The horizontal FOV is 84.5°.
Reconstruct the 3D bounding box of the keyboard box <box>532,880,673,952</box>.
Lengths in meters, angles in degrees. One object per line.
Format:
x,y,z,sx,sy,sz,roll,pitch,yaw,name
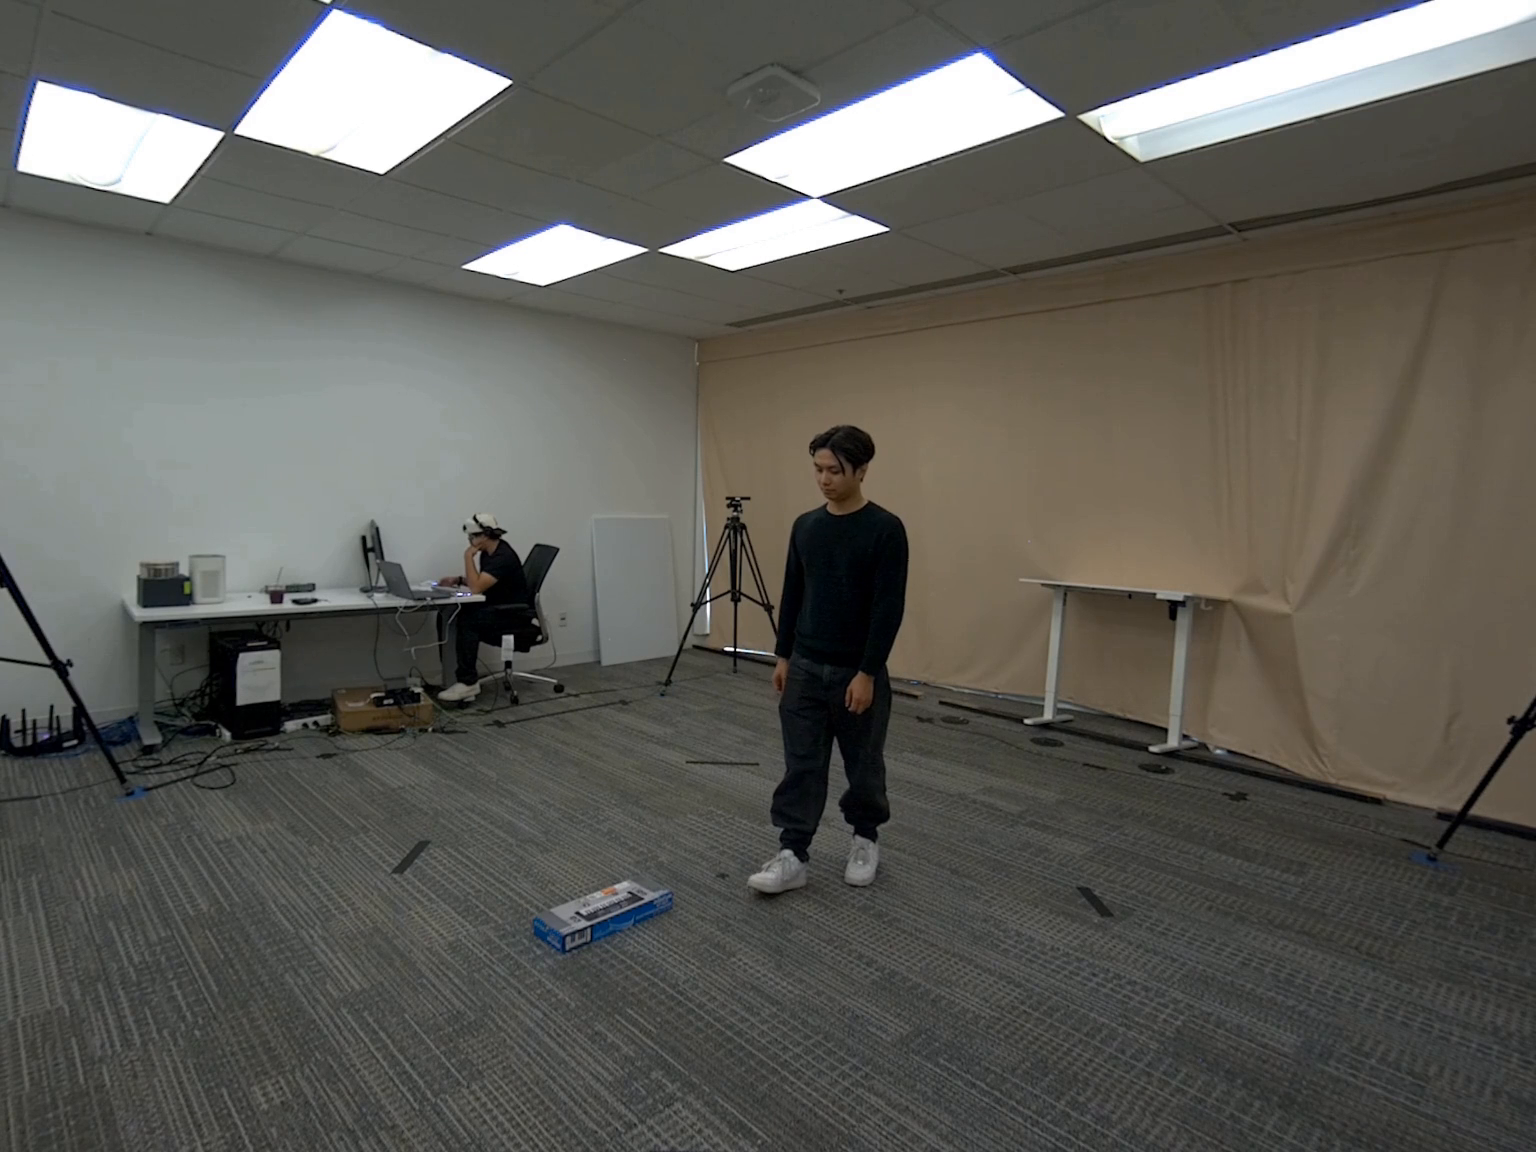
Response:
-0.541,1.100,2.756,0.180,0.059,0.427,5,6,44,keyboard box
